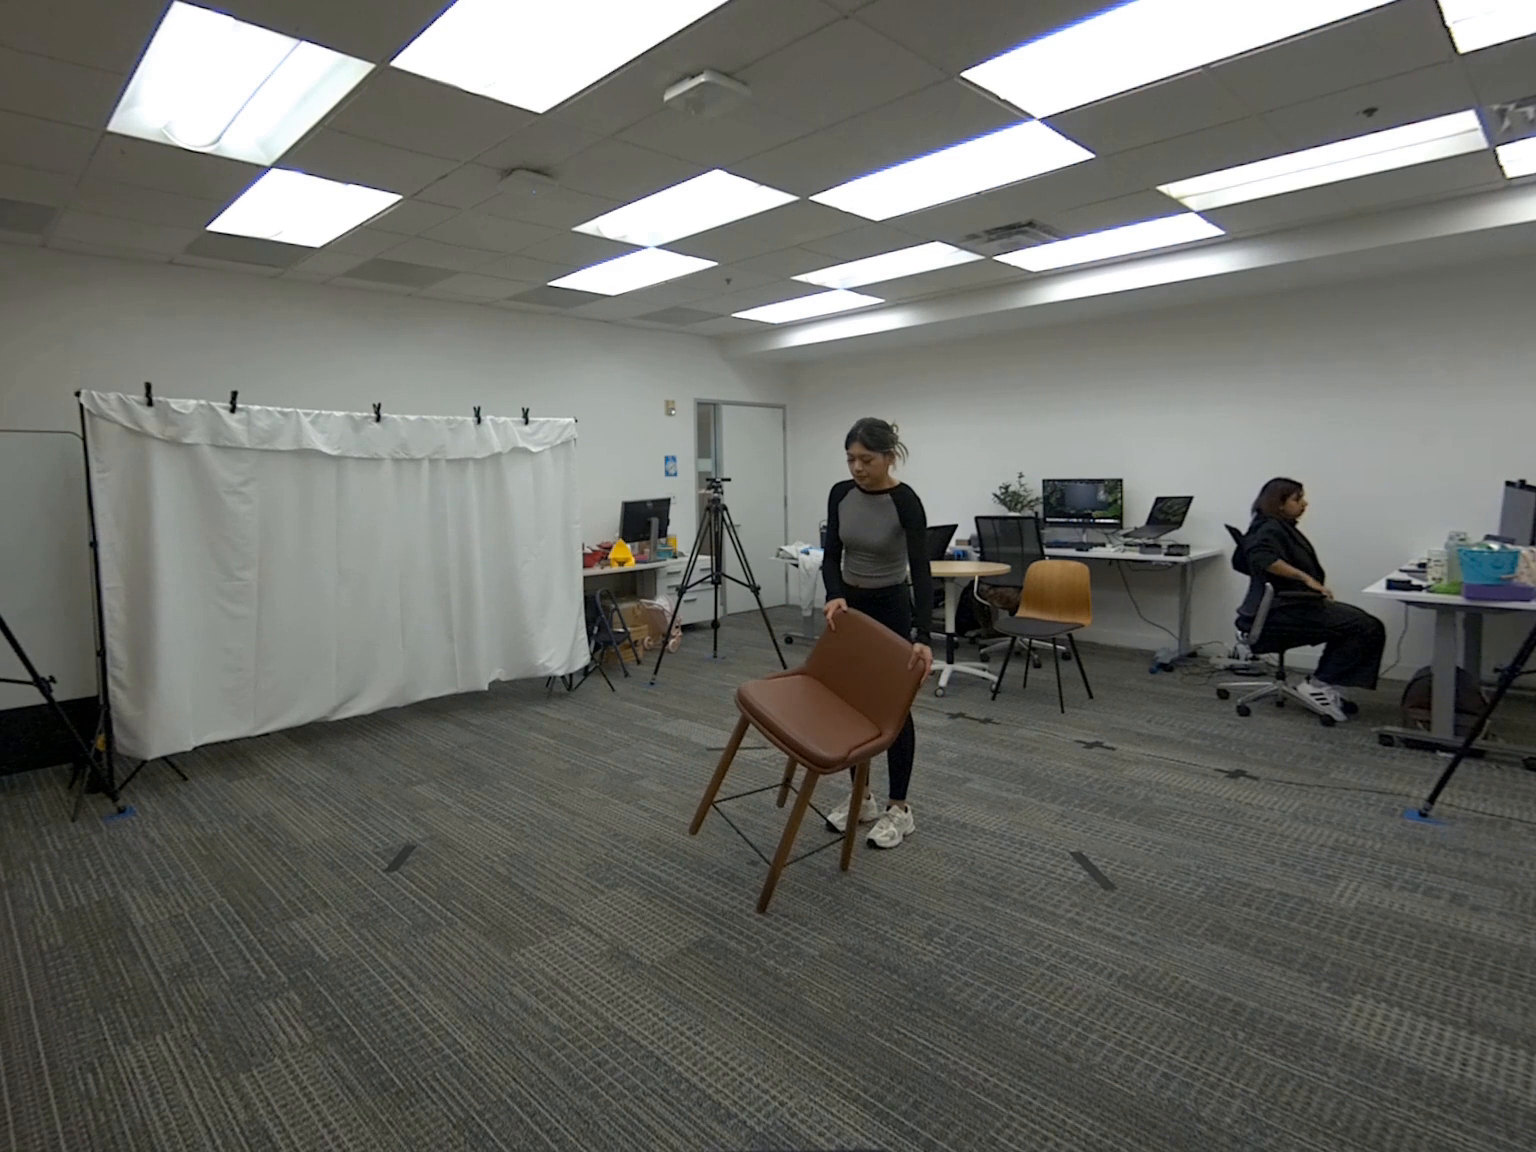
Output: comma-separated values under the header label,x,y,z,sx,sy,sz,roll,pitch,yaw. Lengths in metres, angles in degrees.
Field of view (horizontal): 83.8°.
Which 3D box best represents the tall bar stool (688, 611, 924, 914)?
label,x,y,z,sx,sy,sz,roll,pitch,yaw
tall bar stool,0.130,0.593,2.878,0.454,0.880,0.474,-1,26,-43
